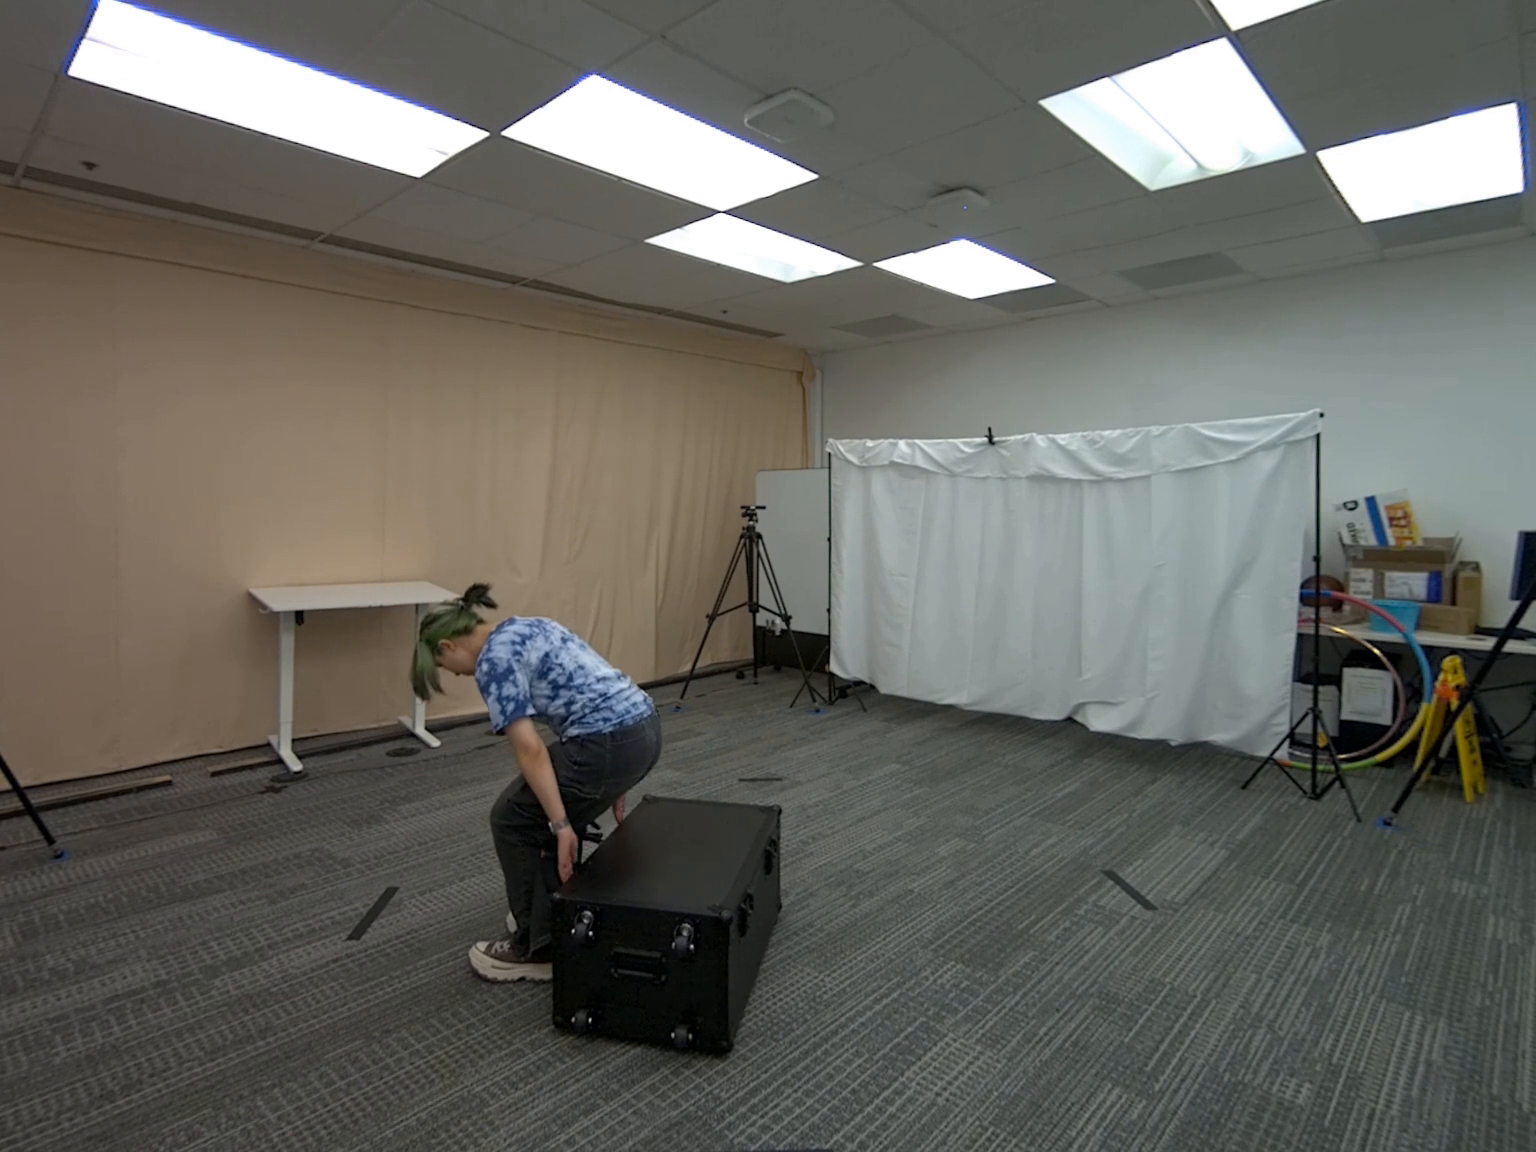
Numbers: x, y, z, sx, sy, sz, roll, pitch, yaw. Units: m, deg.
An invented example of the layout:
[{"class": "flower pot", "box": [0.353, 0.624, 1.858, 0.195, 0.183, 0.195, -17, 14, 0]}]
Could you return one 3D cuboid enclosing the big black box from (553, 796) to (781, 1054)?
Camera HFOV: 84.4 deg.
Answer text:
[{"class": "big black box", "box": [-0.266, 0.992, 2.497, 0.528, 0.395, 0.852, 1, 4, 11]}]
